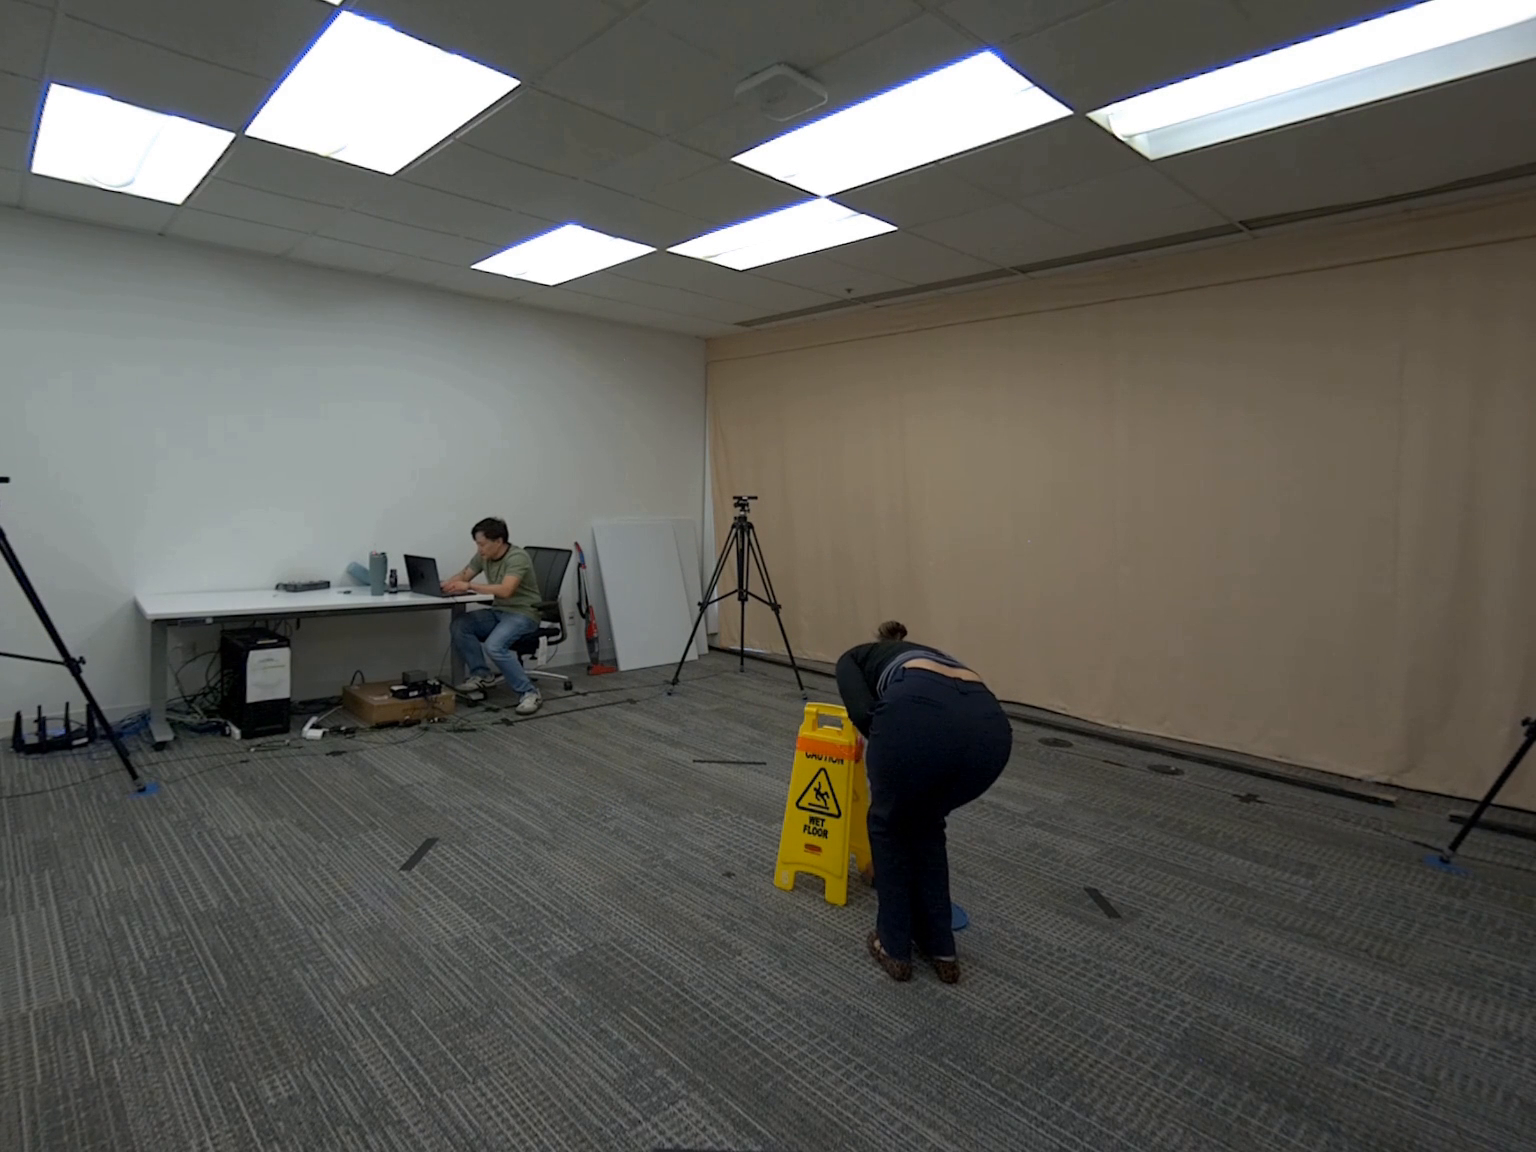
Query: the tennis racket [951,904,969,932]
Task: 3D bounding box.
[{"bbox_3d":[0.483,1.125,2.919,0.209,0.031,0.444,-3,8,-40],"label":"tennis racket"}]
